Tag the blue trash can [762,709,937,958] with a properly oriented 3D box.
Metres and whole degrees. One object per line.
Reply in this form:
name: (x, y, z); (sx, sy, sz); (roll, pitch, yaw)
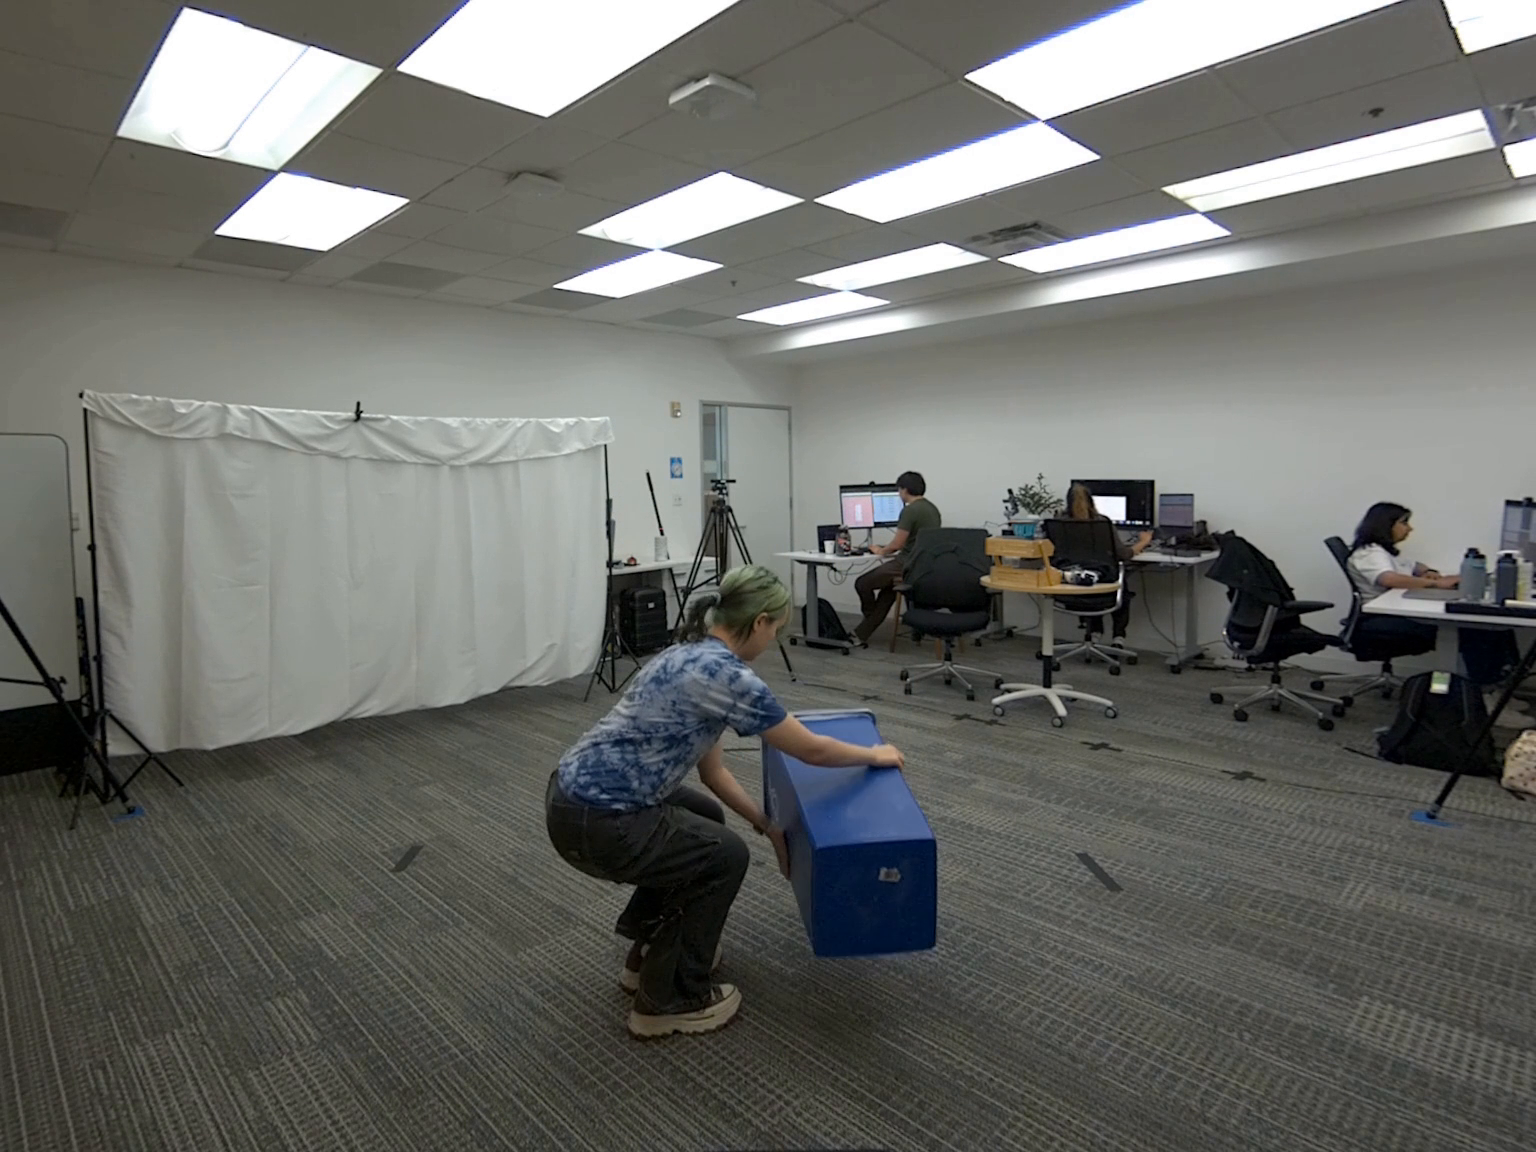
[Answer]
blue trash can: (0.209, 0.674, 2.392); (0.376, 0.370, 0.724); (-3, 12, -6)
